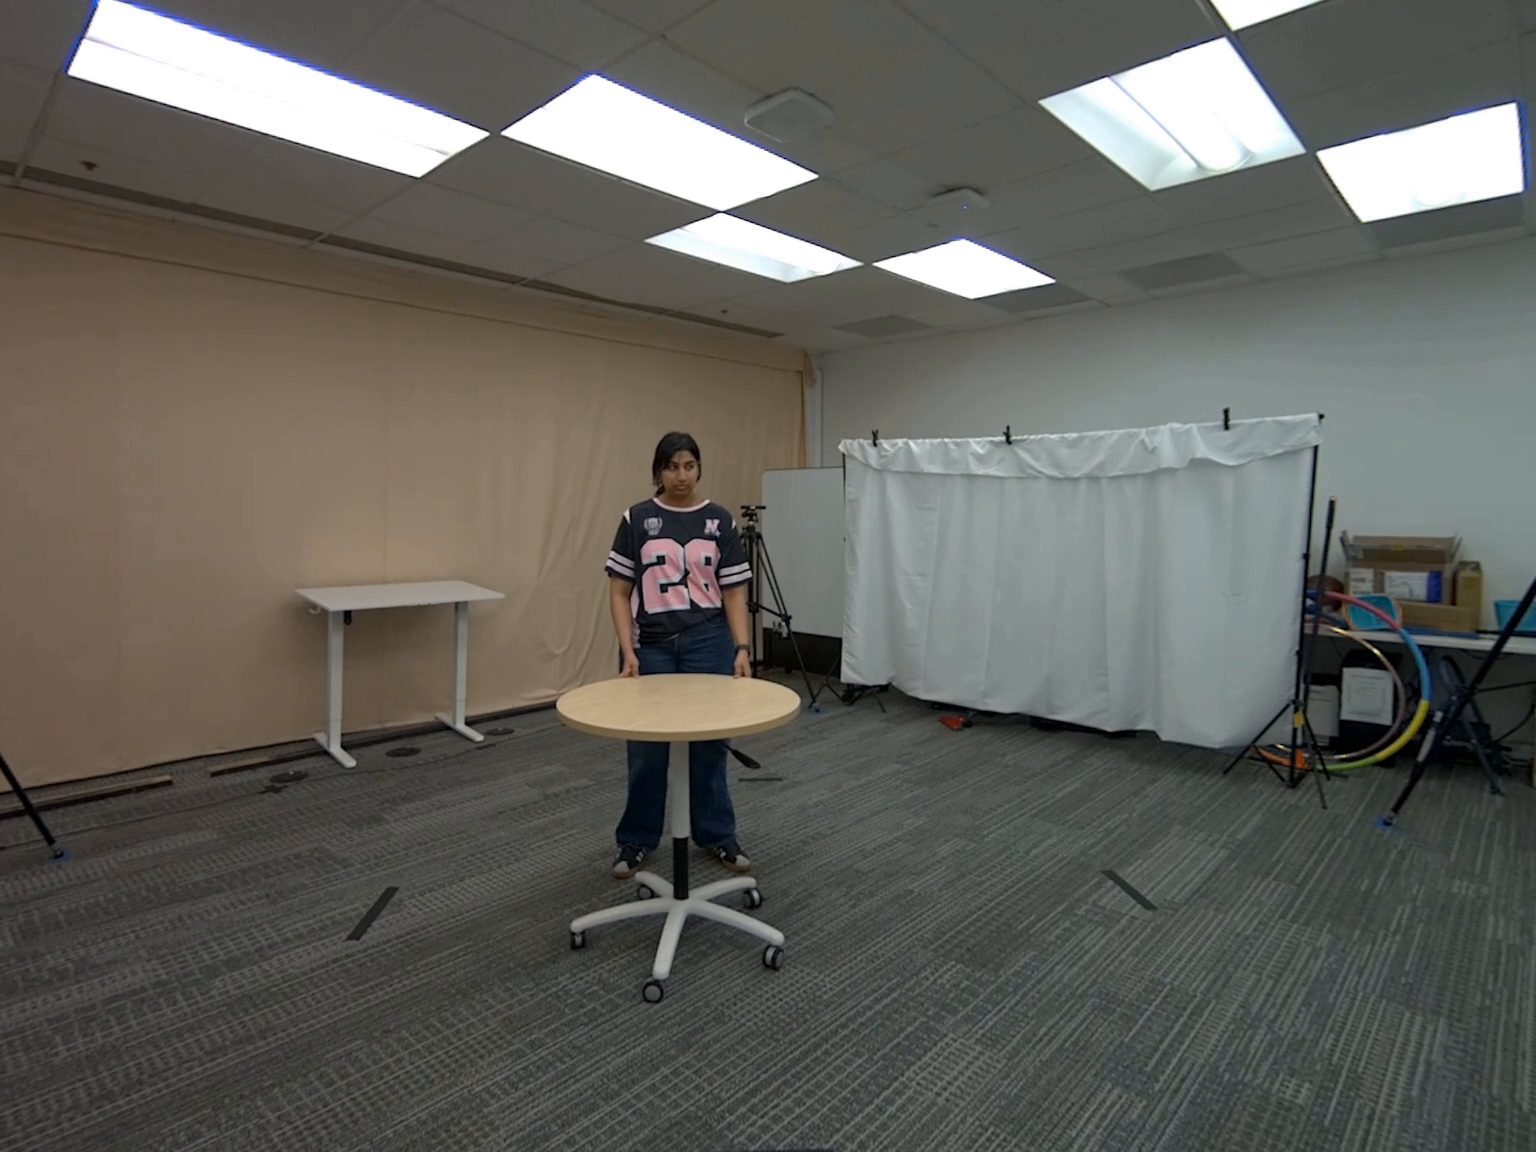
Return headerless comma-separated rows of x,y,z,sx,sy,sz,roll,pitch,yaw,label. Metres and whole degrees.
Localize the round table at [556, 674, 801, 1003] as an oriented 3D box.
-0.273,0.778,2.686,0.763,0.792,0.767,0,4,-2,round table
